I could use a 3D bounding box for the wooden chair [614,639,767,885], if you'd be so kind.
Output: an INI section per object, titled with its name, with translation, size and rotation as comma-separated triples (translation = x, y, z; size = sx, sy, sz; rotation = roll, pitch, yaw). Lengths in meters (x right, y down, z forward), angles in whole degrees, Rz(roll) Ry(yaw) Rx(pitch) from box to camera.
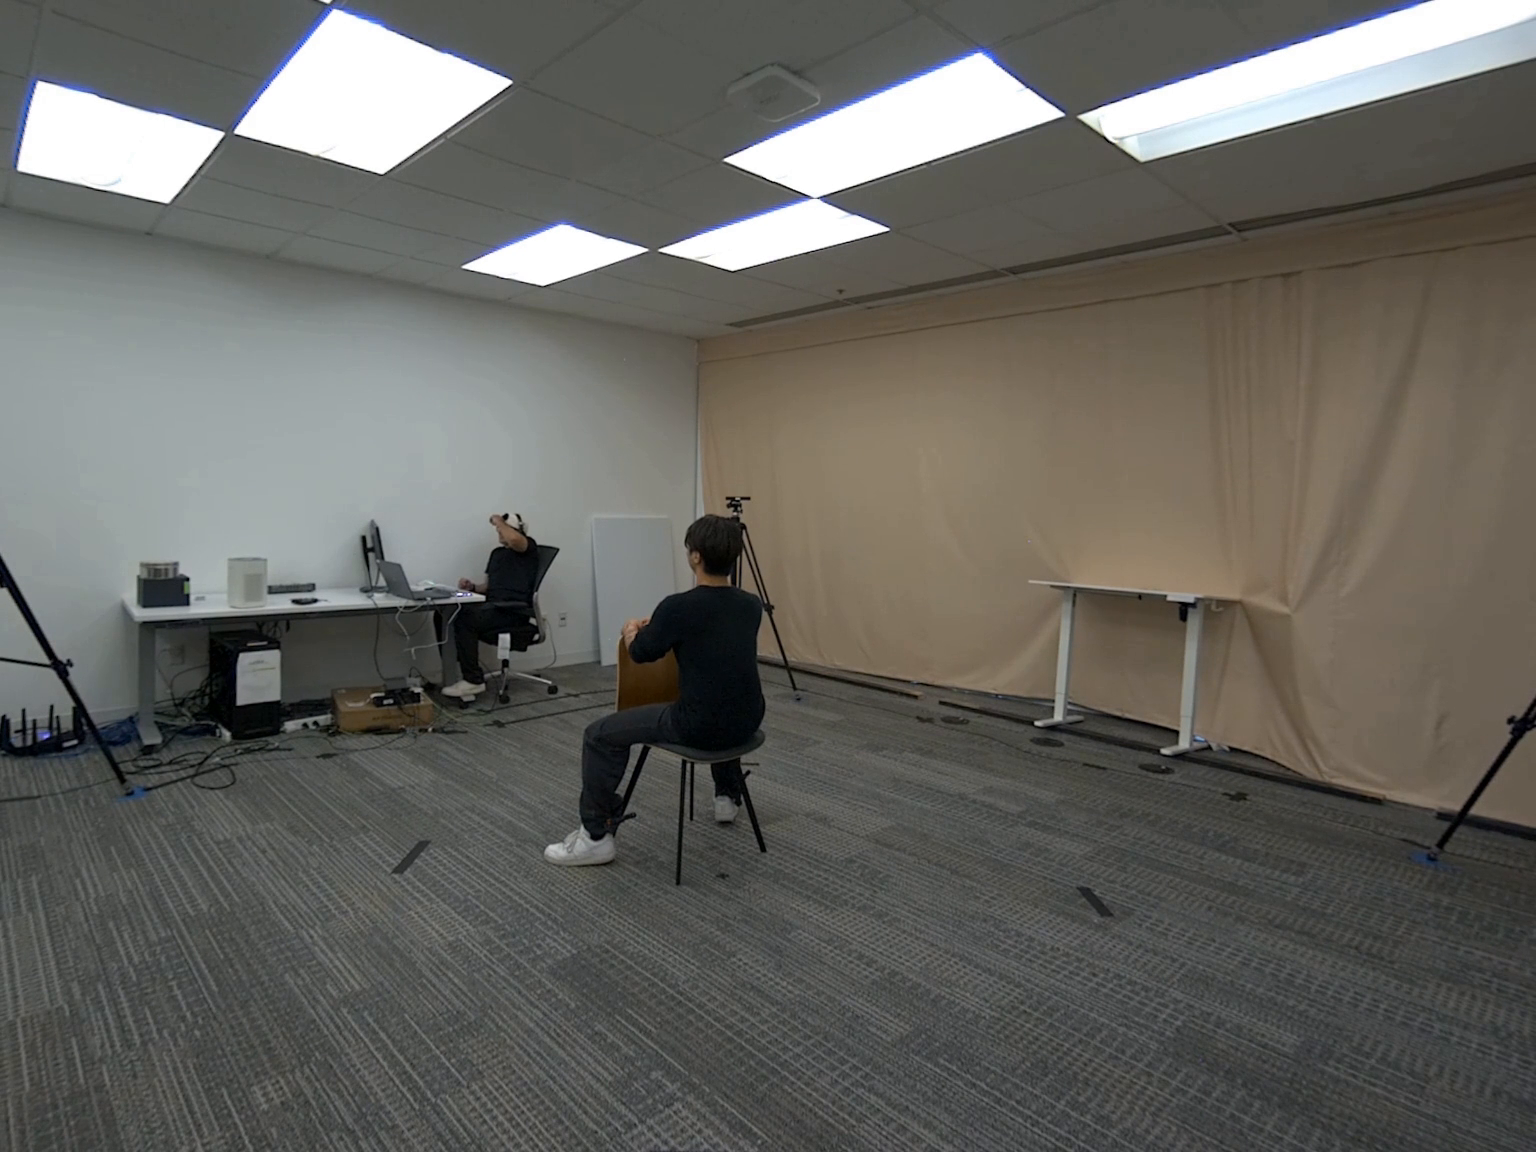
[wooden chair]
translation = -0.308, 0.652, 3.295
size = 0.467, 0.877, 0.535
rotation = -2, 1, -43
